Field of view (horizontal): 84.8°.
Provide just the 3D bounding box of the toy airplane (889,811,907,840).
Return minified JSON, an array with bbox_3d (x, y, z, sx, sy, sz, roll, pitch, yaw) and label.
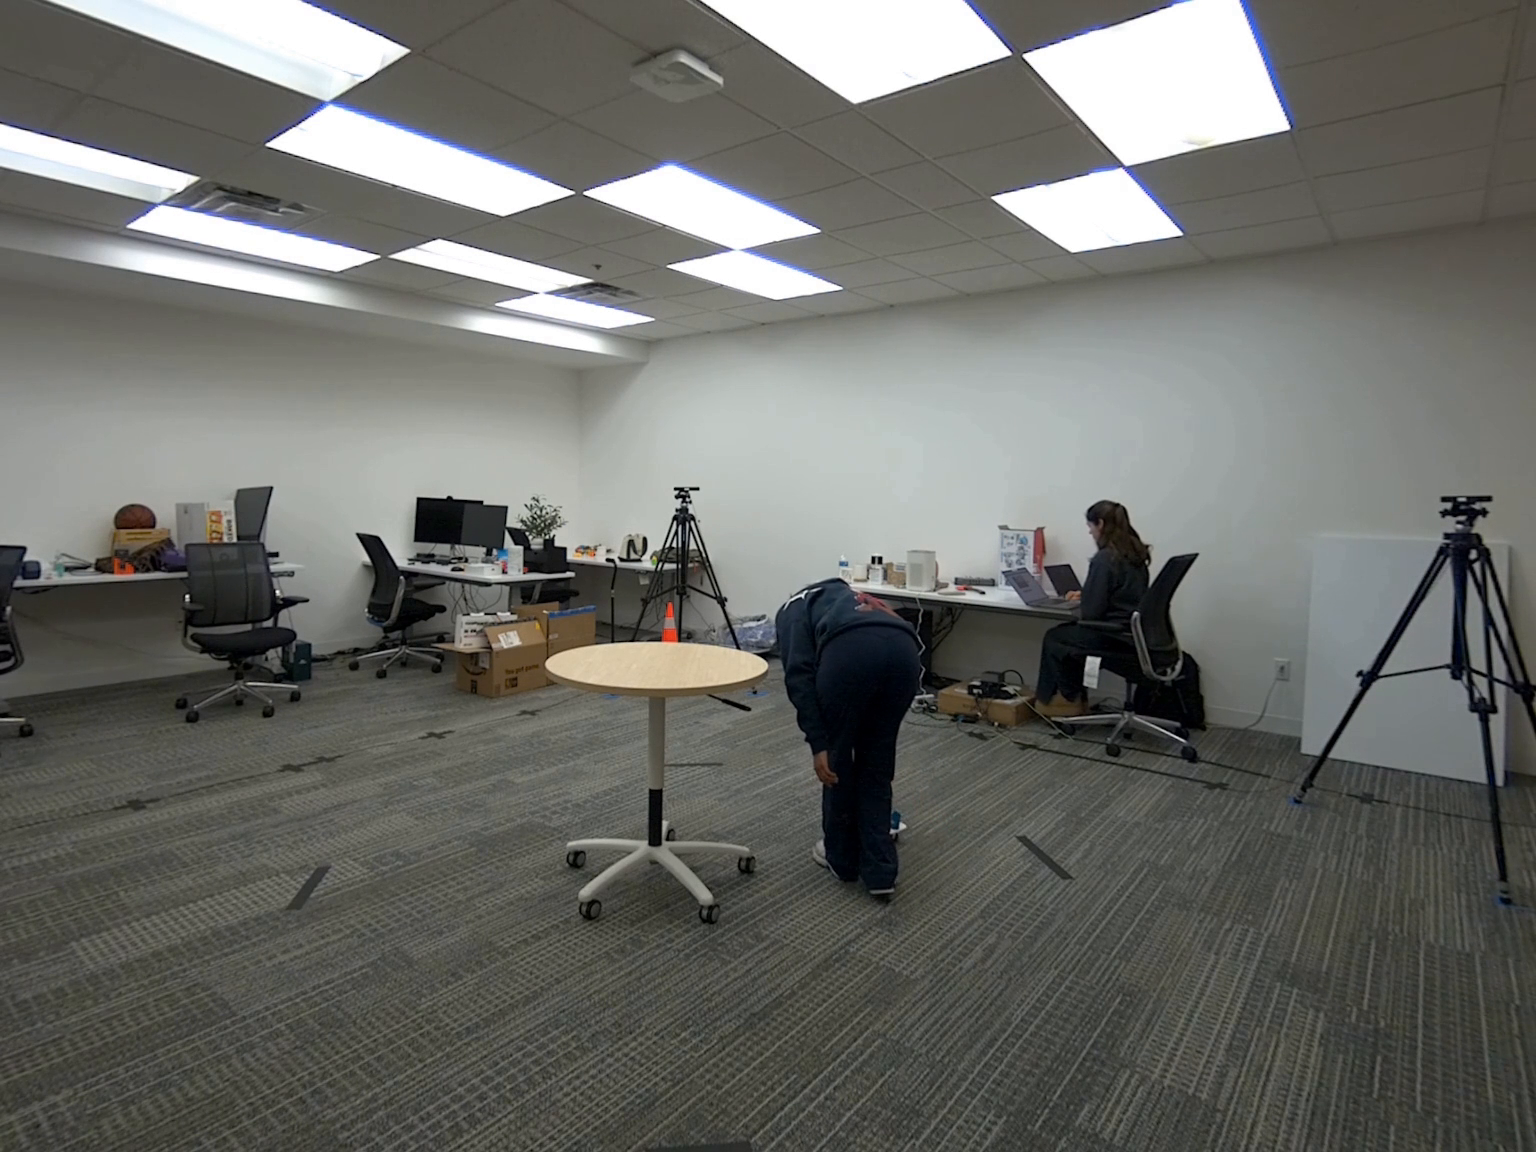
[{"bbox_3d":[0.434,0.964,3.462,0.265,0.156,0.246,0,4,20],"label":"toy airplane"}]
